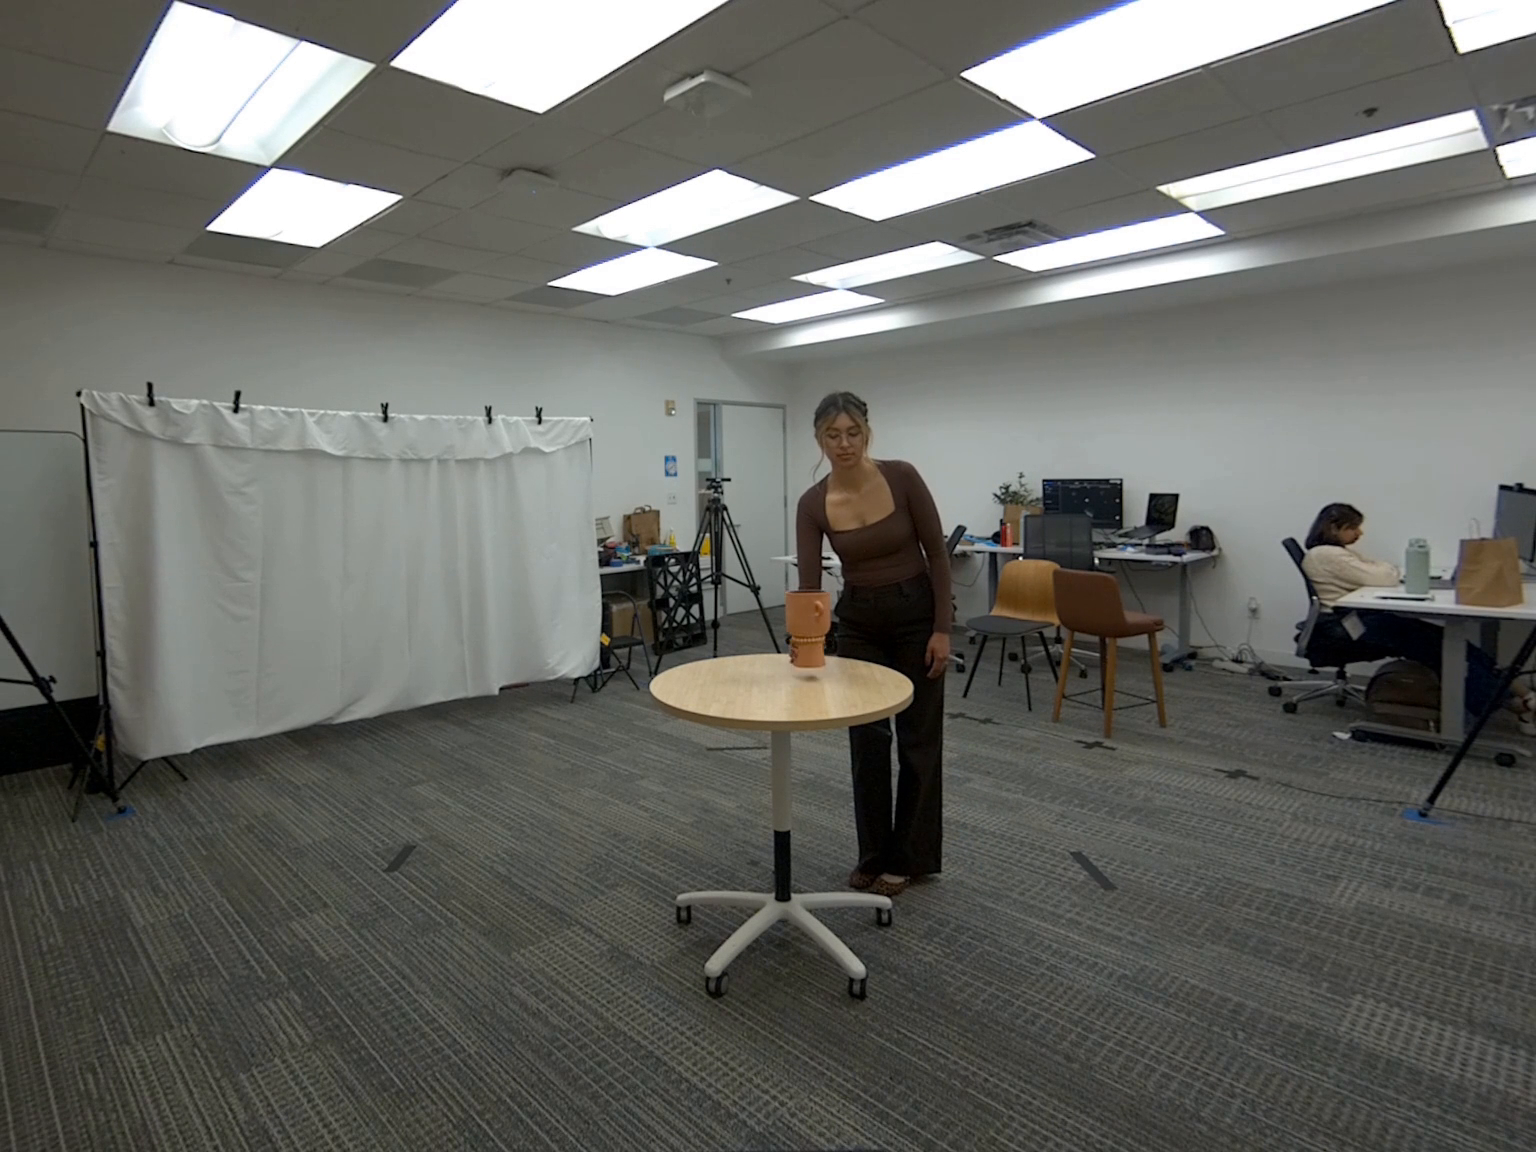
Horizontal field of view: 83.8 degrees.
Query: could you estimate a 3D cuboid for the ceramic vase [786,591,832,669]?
[{"bbox_3d":[0.122,0.152,2.556,0.137,0.219,0.156,-1,3,19],"label":"ceramic vase"}]
